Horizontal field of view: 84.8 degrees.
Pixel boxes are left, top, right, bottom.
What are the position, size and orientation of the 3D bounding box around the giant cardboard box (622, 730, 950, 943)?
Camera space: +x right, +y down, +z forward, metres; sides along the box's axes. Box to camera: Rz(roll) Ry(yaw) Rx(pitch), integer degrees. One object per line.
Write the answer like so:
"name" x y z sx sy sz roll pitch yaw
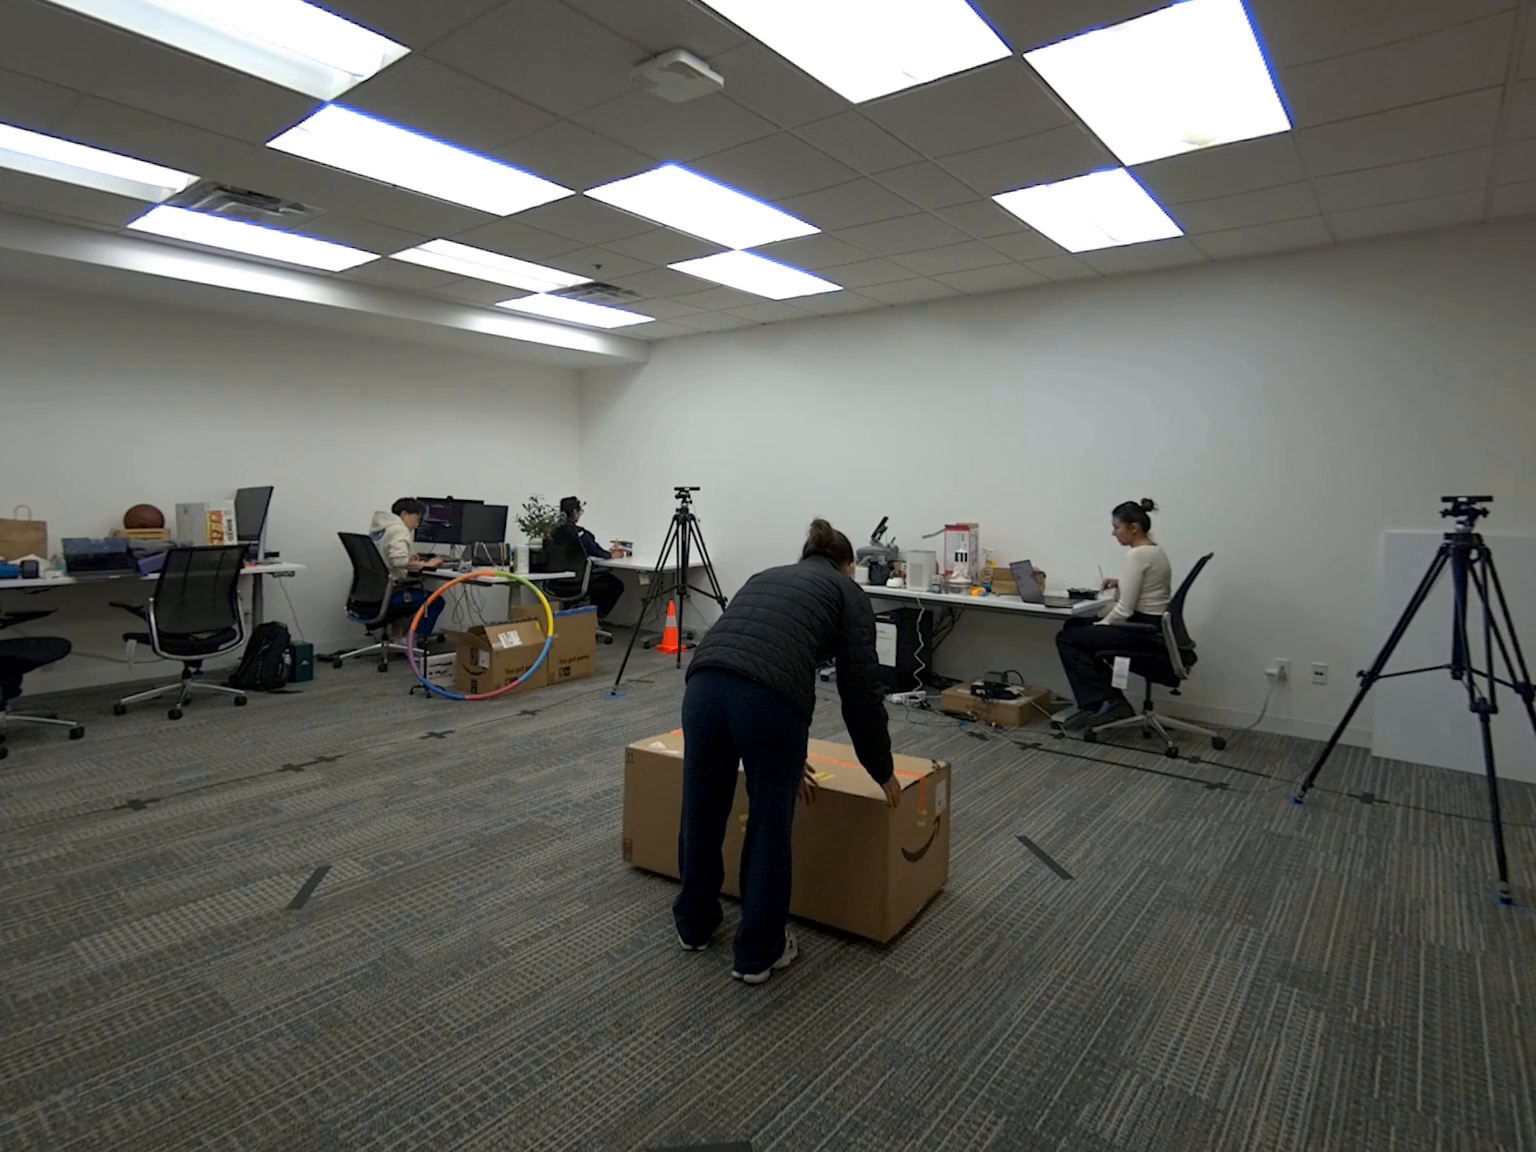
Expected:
"giant cardboard box" 0.070 0.839 3.048 1.057 0.426 0.561 3 3 33
